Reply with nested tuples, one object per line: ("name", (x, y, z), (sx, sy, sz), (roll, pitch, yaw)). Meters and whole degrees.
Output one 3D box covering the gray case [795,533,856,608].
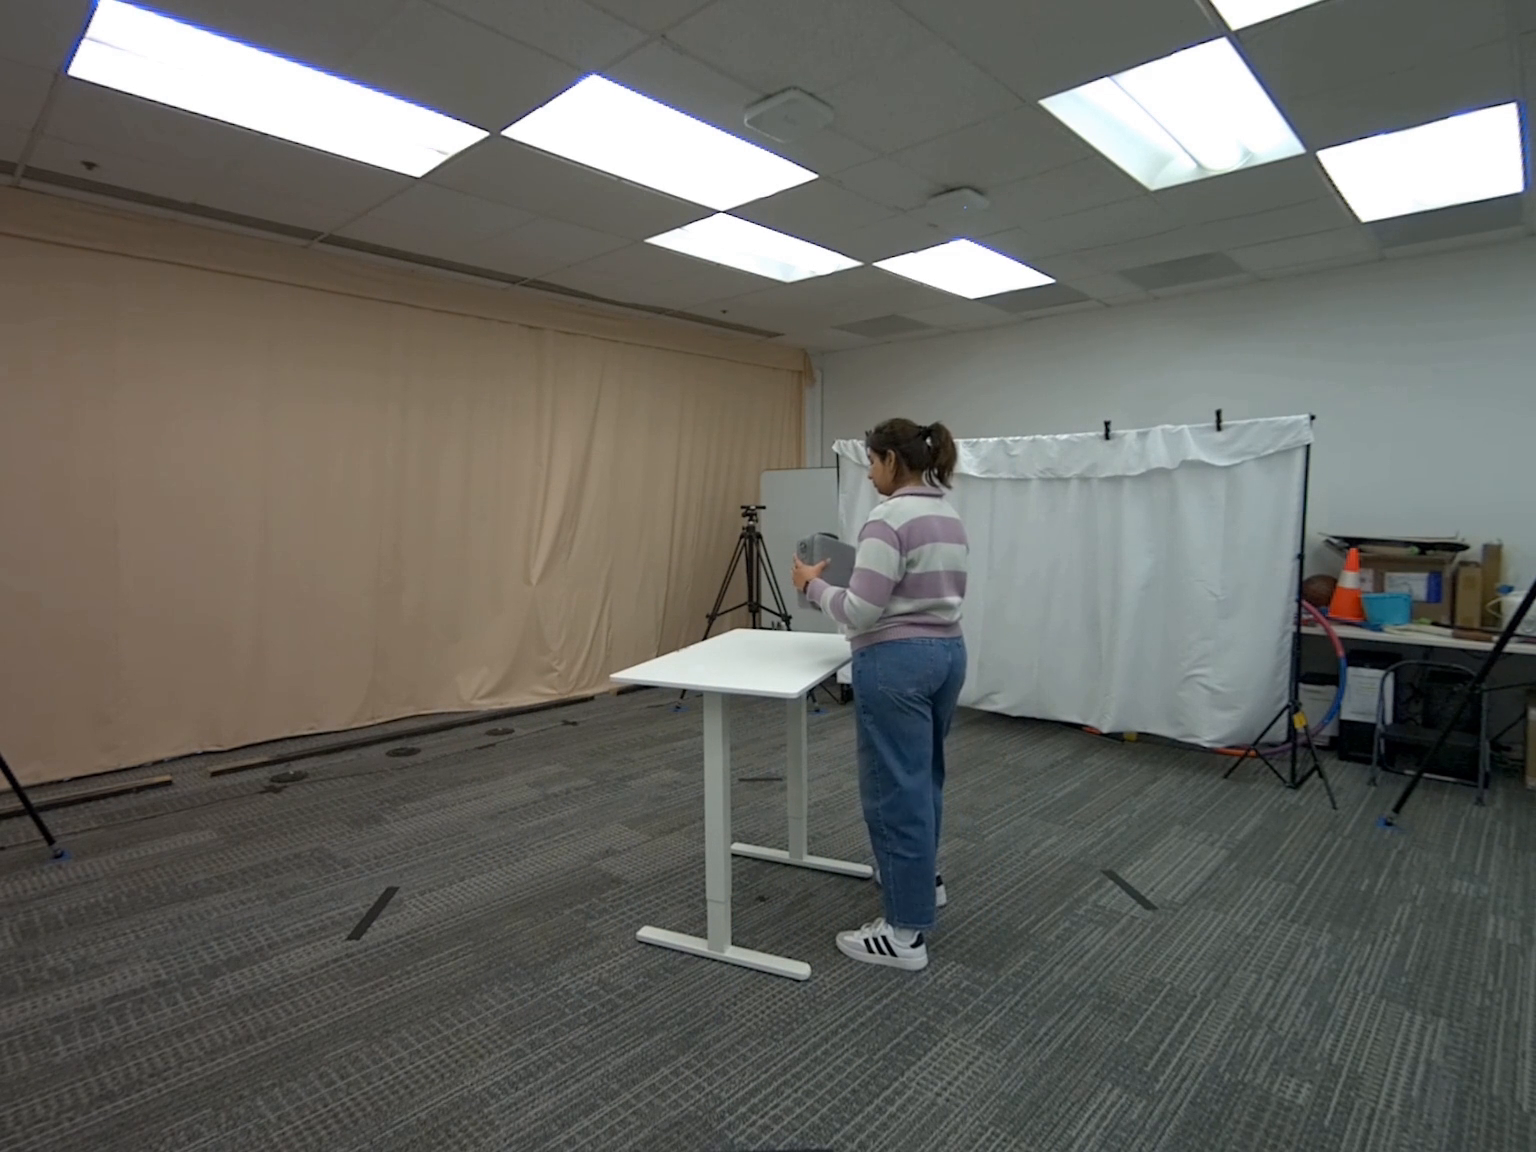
("gray case", (0.207, 0.000, 2.857), (0.107, 0.263, 0.248), (-9, -18, 36))
